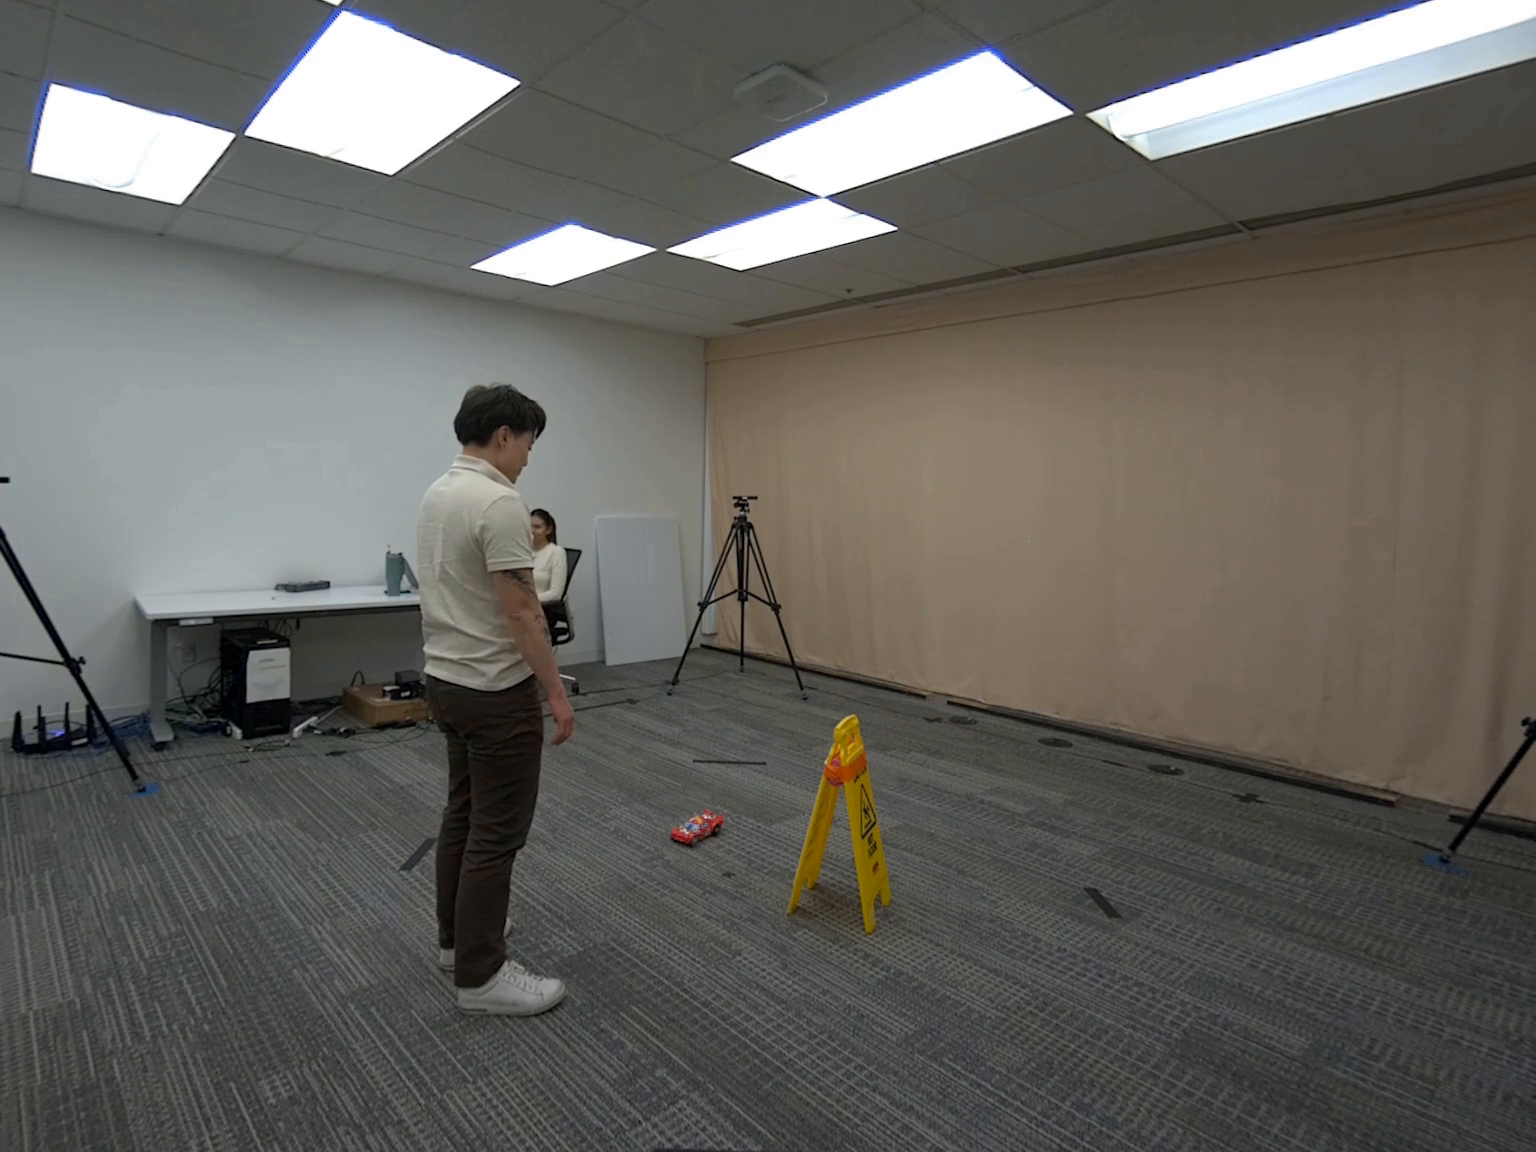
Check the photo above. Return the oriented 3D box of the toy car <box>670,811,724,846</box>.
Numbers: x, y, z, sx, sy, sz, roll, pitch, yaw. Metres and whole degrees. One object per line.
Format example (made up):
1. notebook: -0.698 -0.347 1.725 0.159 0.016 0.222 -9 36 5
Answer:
1. toy car: -0.291 1.038 3.454 0.133 0.082 0.251 3 16 36
